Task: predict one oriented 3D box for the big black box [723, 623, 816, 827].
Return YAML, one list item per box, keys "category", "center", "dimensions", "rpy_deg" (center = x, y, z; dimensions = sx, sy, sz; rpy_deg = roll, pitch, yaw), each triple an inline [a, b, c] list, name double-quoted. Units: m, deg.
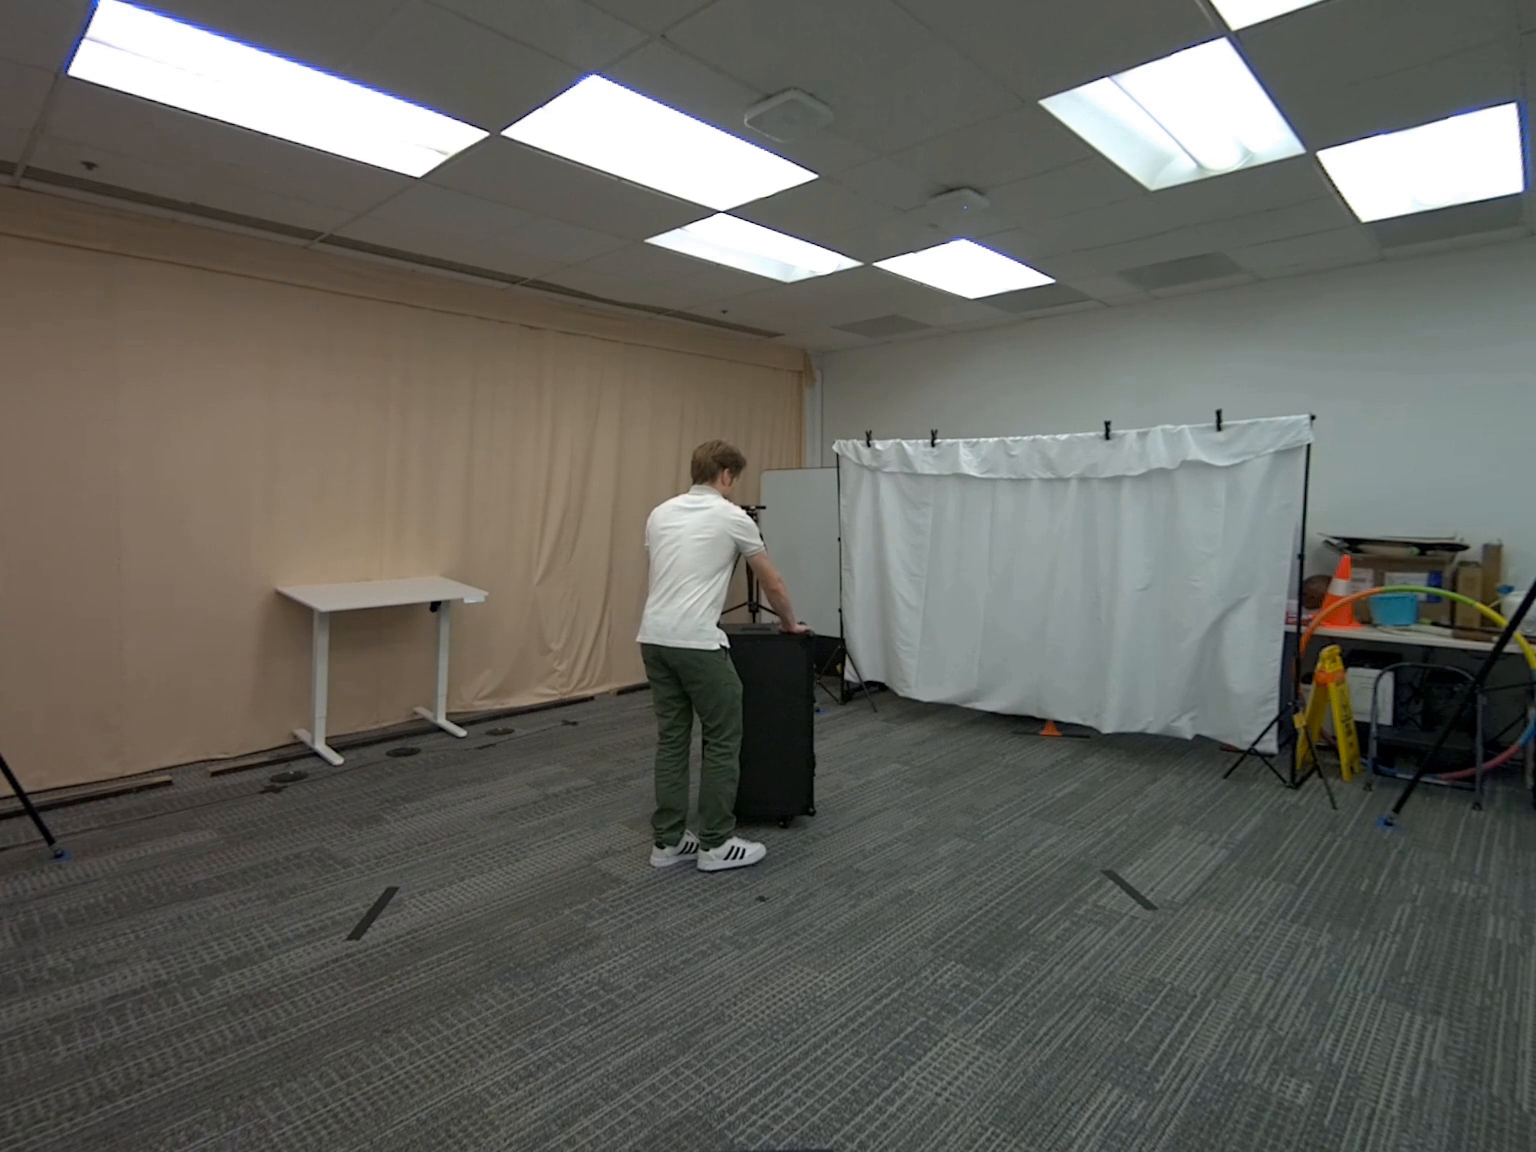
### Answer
- category: "big black box"
  center: [-0.059, 0.657, 3.752]
  dimensions: [0.522, 0.867, 0.387]
  rpy_deg: [0, 3, -3]
